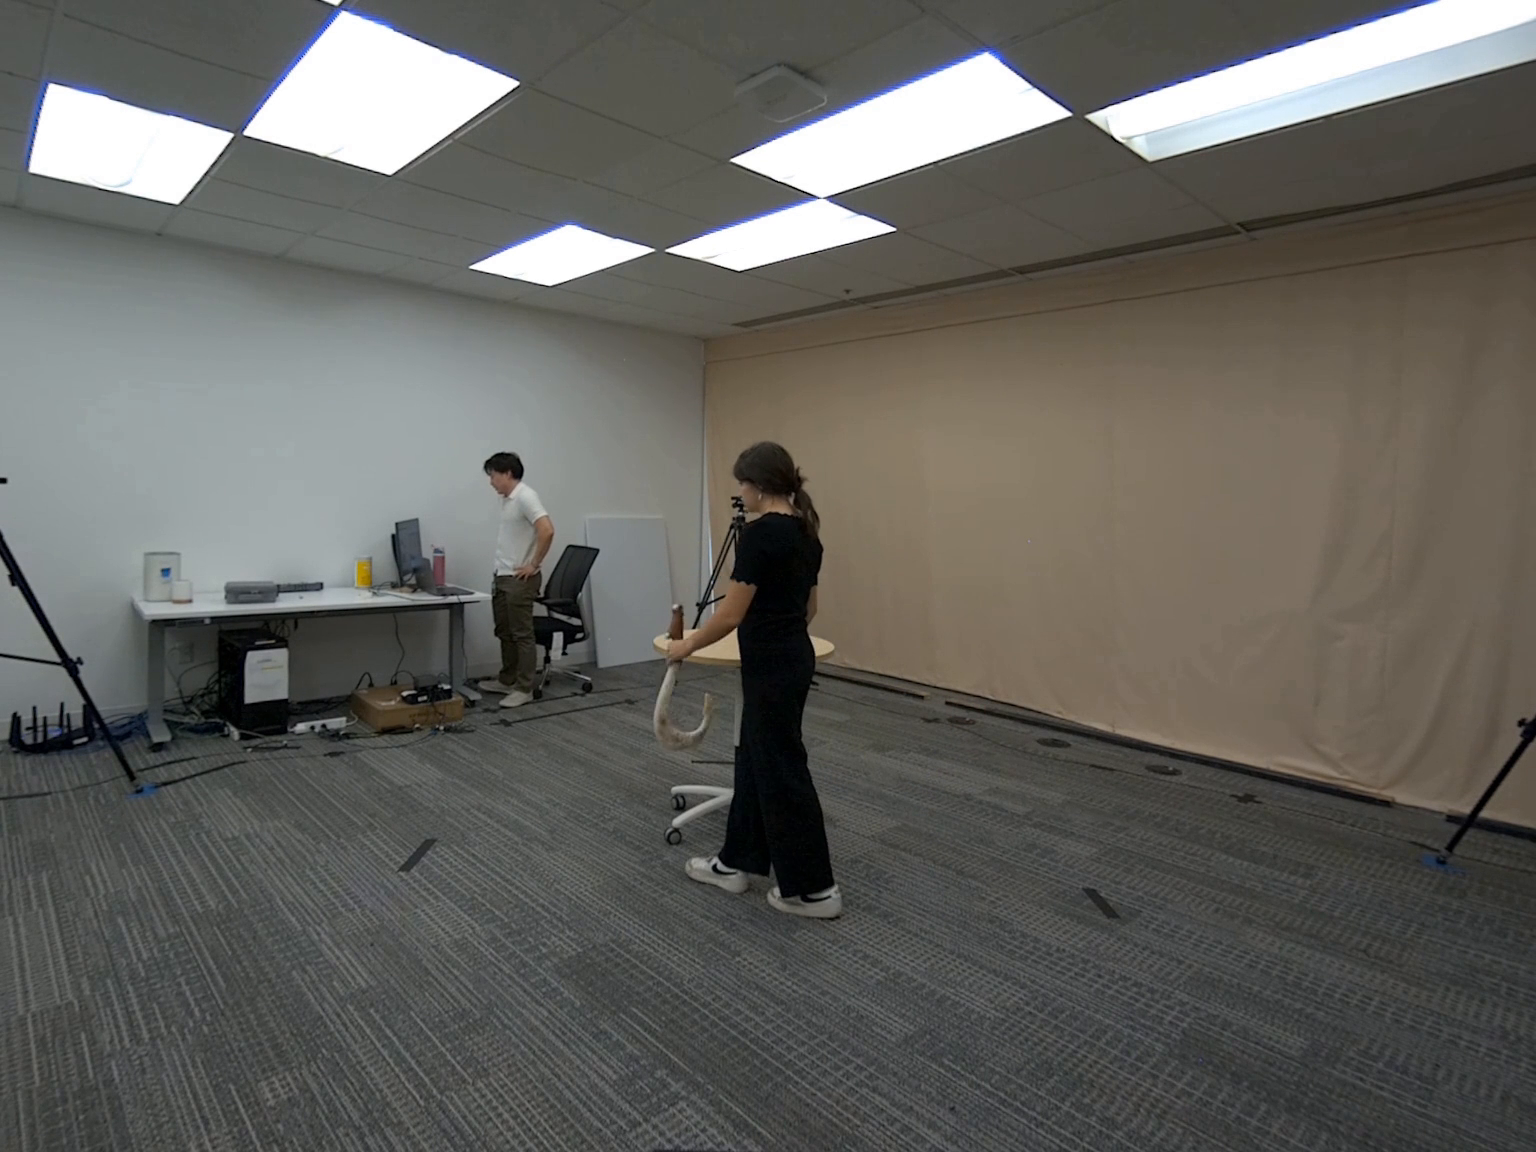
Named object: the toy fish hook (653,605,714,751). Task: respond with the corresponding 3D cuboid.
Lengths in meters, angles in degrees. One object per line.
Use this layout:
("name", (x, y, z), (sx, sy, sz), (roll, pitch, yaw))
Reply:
("toy fish hook", (-0.277, 0.343, 2.929), (0.220, 0.508, 0.049), (5, -6, -23))
